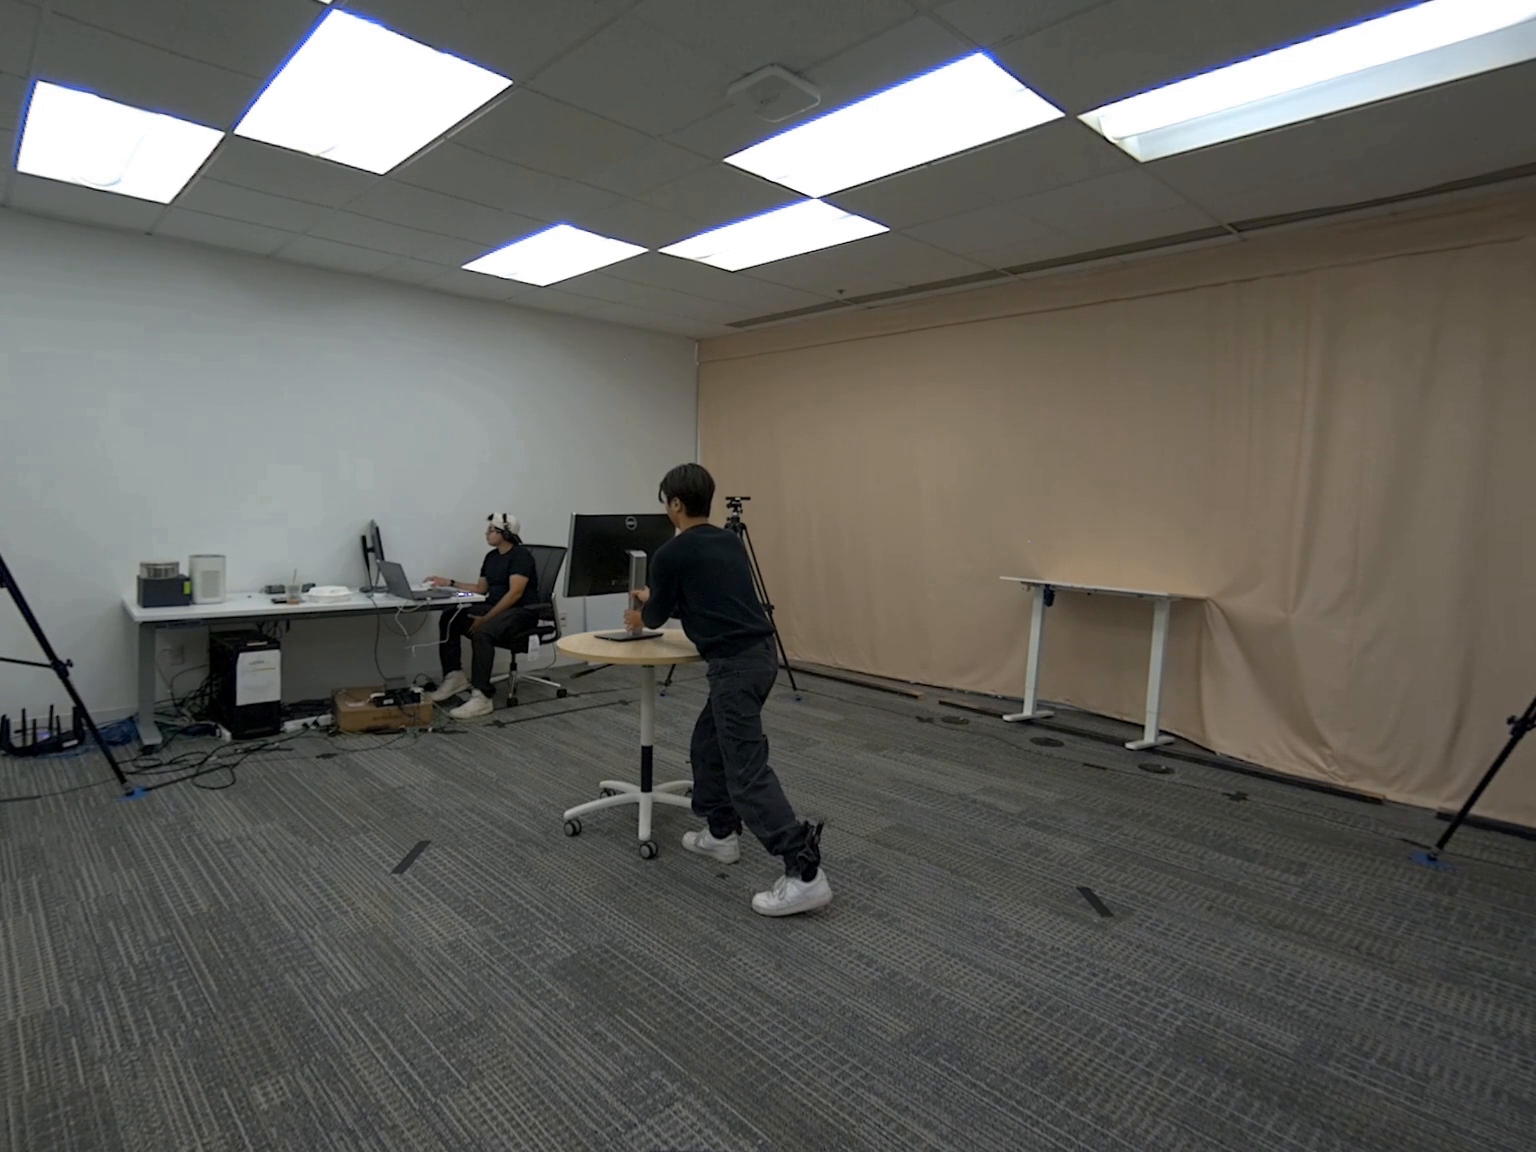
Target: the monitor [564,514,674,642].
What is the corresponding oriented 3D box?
[{"bbox_3d":[-0.615,-0.009,3.662,0.178,0.516,0.519,-5,1,44],"label":"monitor"}]
